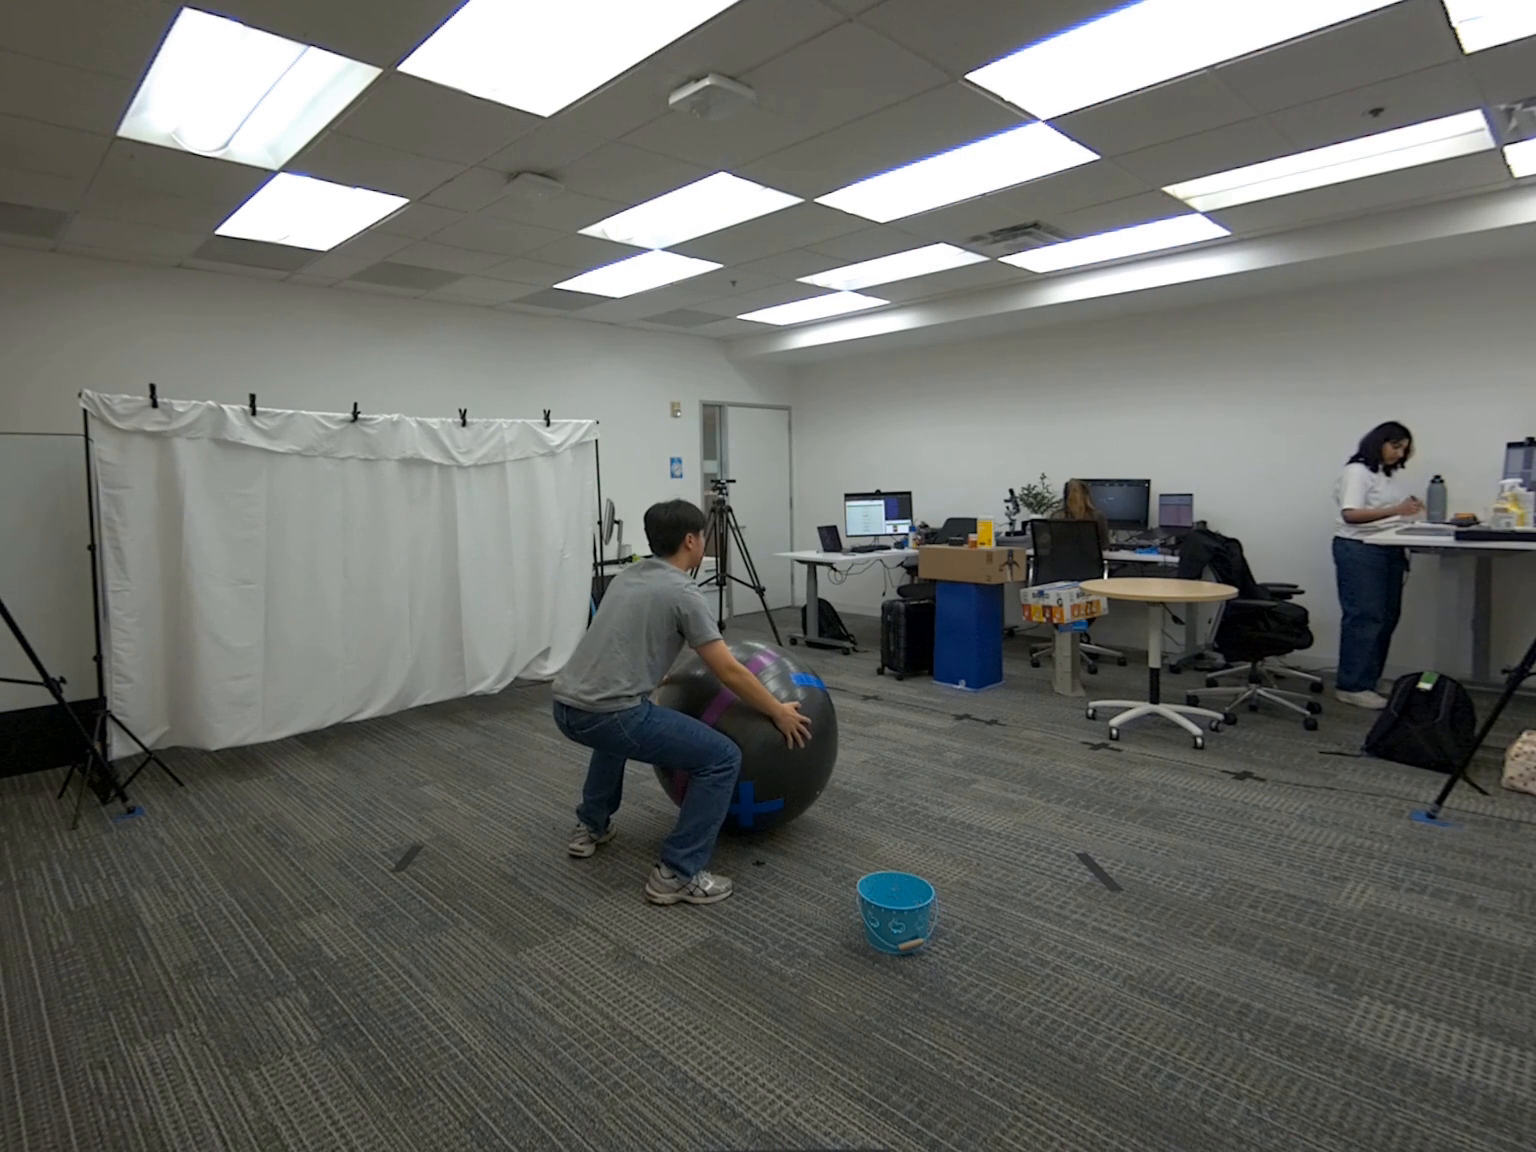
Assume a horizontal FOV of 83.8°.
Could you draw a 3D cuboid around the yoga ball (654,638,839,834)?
[{"bbox_3d":[-0.089,0.618,3.431,0.757,0.755,0.762,-1,5,-2],"label":"yoga ball"}]
